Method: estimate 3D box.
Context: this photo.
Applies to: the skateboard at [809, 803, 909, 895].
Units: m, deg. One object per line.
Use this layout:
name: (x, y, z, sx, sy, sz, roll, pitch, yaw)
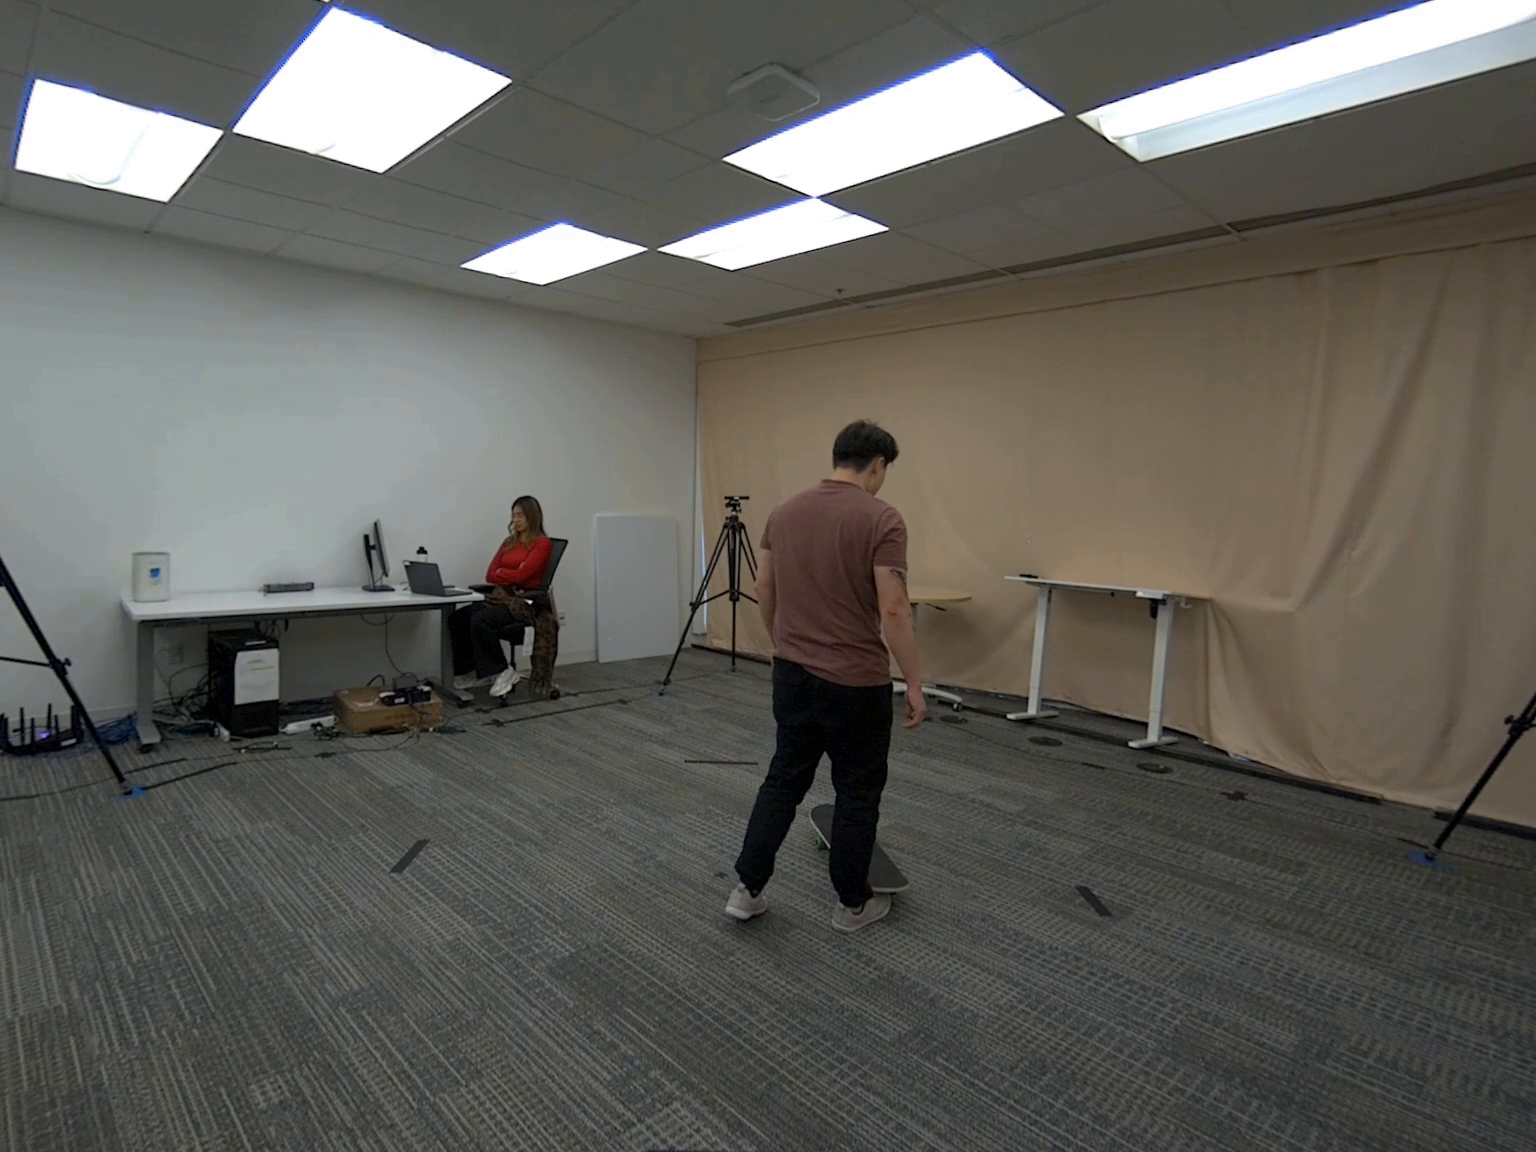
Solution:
skateboard: (0.317, 1.053, 3.178, 0.192, 0.110, 0.794, 0, 5, -11)
